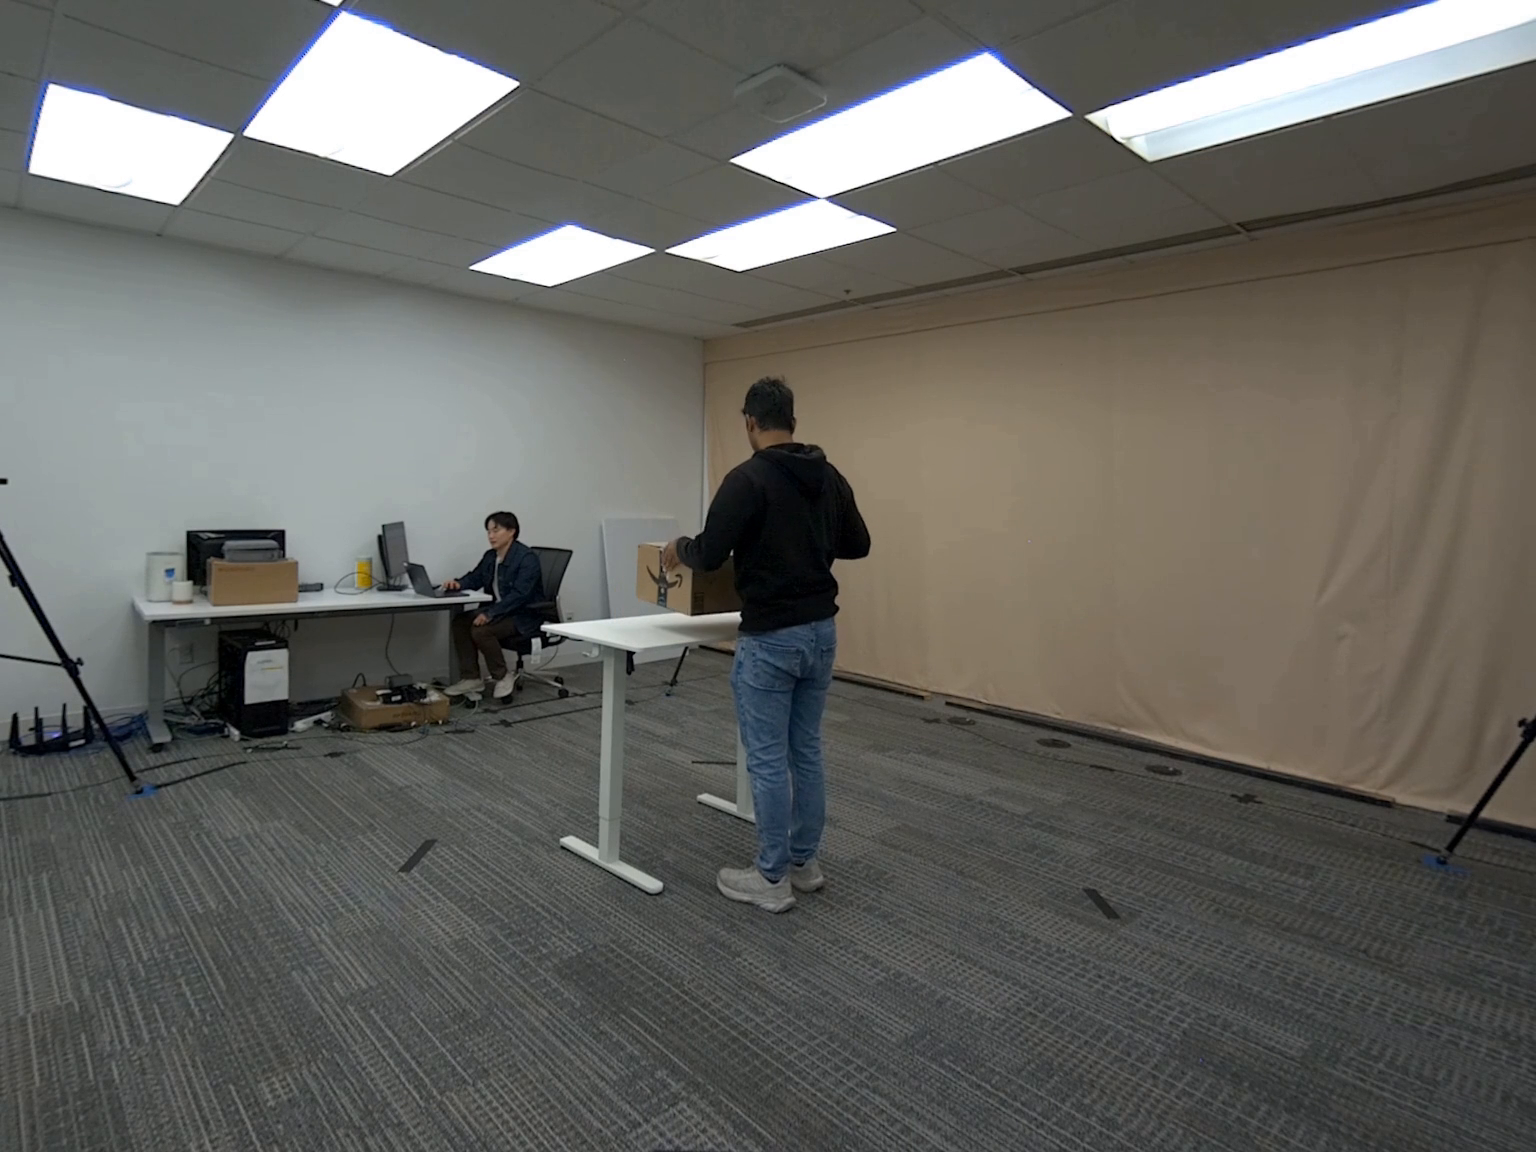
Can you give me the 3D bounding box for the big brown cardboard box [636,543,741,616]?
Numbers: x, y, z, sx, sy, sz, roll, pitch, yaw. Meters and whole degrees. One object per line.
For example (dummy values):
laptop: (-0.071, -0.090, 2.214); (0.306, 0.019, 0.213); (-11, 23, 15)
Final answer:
big brown cardboard box: (-0.155, 0.000, 3.278); (0.576, 0.232, 0.429); (-4, 10, -36)
